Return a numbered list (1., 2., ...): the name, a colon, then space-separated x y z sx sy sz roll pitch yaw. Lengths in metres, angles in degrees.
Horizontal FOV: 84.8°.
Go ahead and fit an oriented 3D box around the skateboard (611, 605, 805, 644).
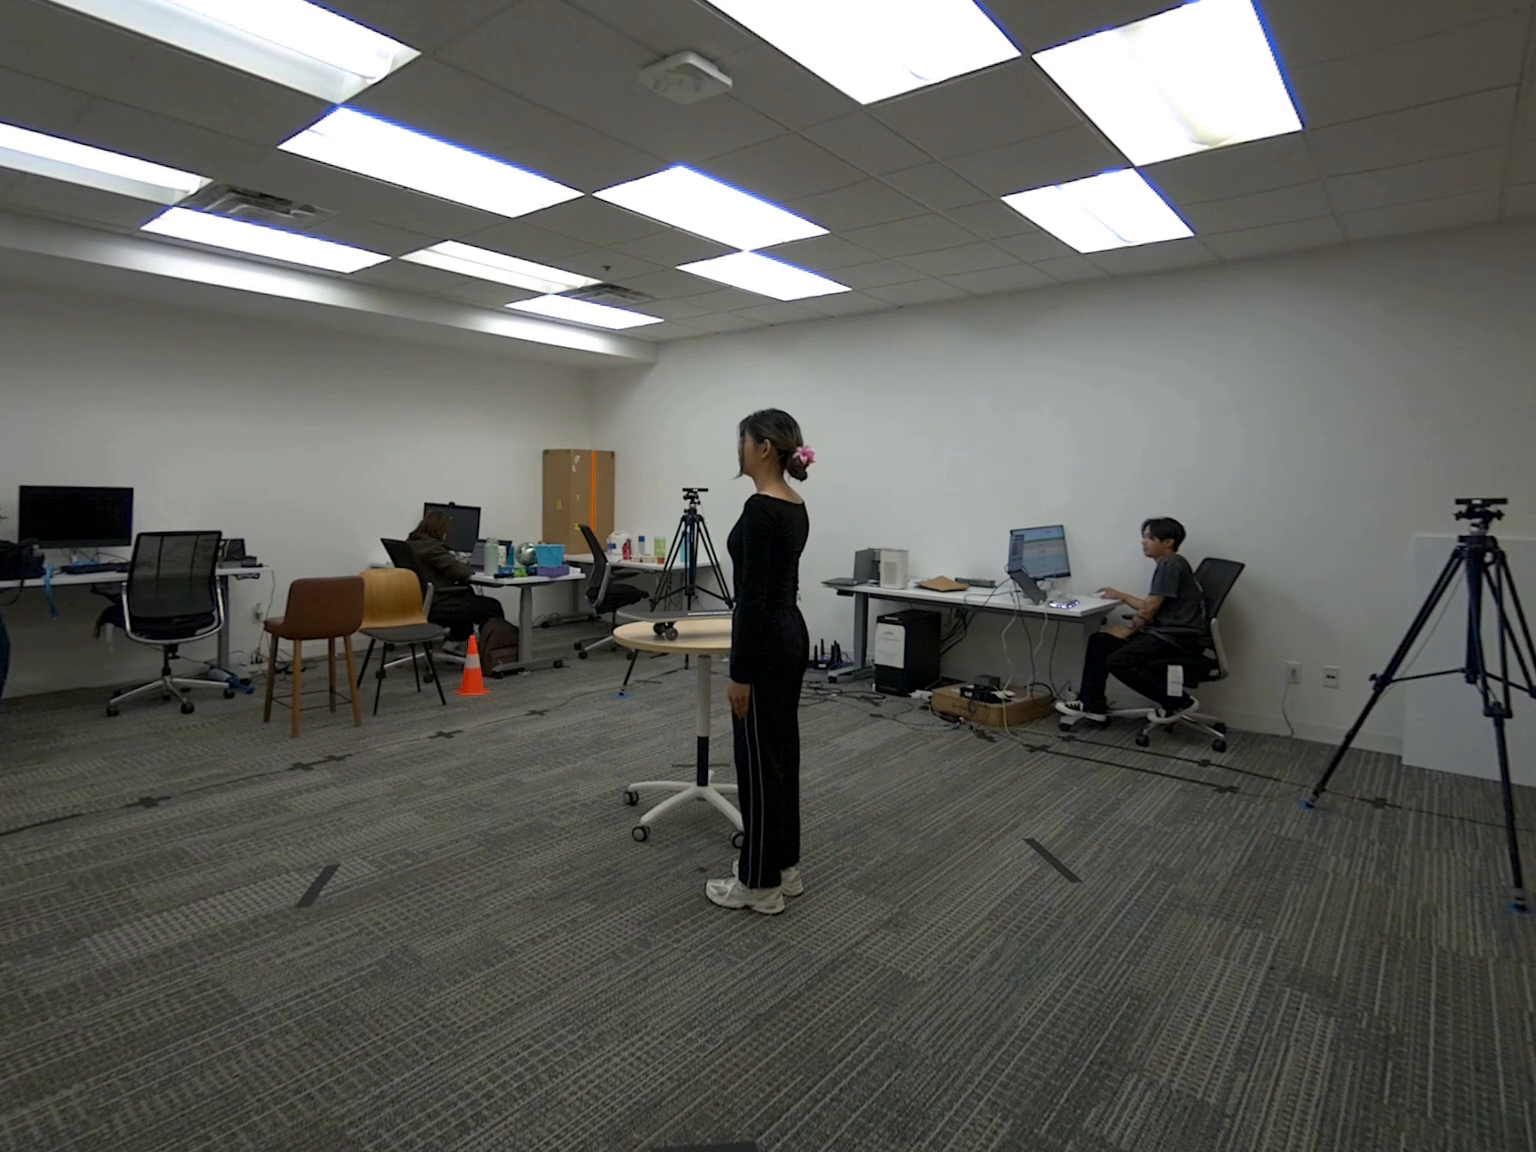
1. skateboard: -0.245 0.190 3.488 0.768 0.110 0.198 -1 5 -23
